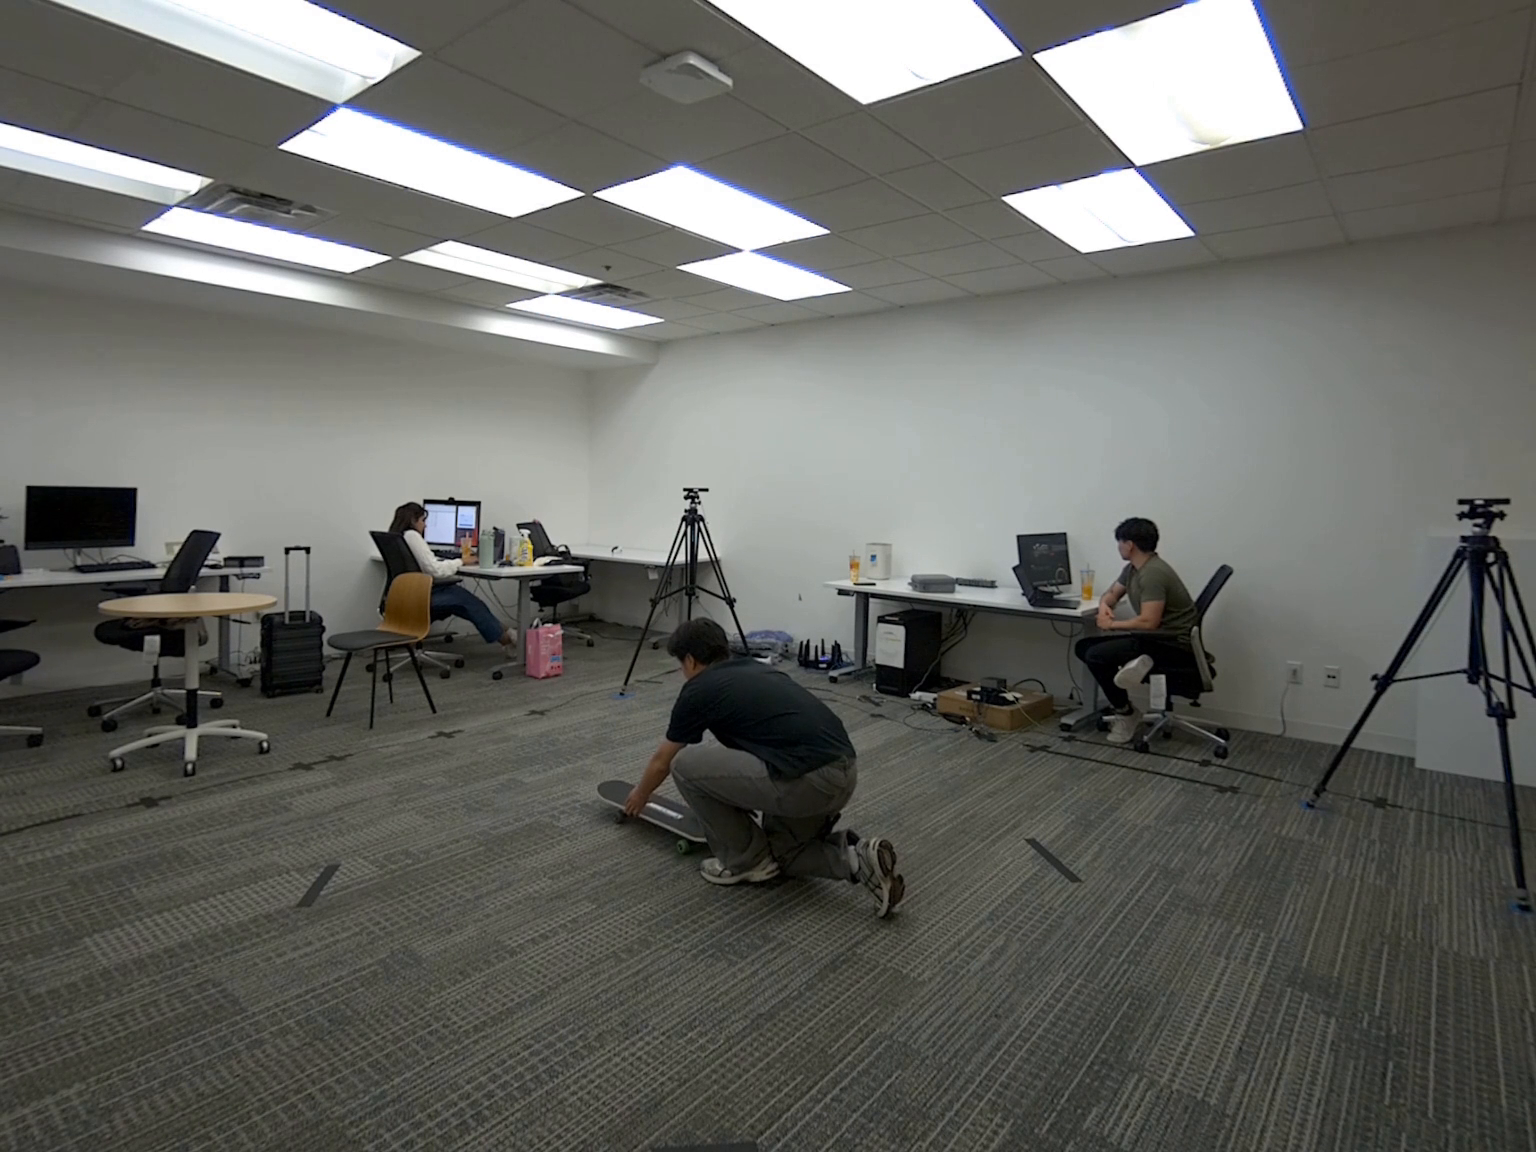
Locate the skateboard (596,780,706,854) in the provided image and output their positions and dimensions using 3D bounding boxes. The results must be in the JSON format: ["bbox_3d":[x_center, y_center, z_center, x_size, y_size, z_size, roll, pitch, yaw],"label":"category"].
[{"bbox_3d":[-0.433,0.975,3.430,0.813,0.110,0.187,7,7,43],"label":"skateboard"}]
